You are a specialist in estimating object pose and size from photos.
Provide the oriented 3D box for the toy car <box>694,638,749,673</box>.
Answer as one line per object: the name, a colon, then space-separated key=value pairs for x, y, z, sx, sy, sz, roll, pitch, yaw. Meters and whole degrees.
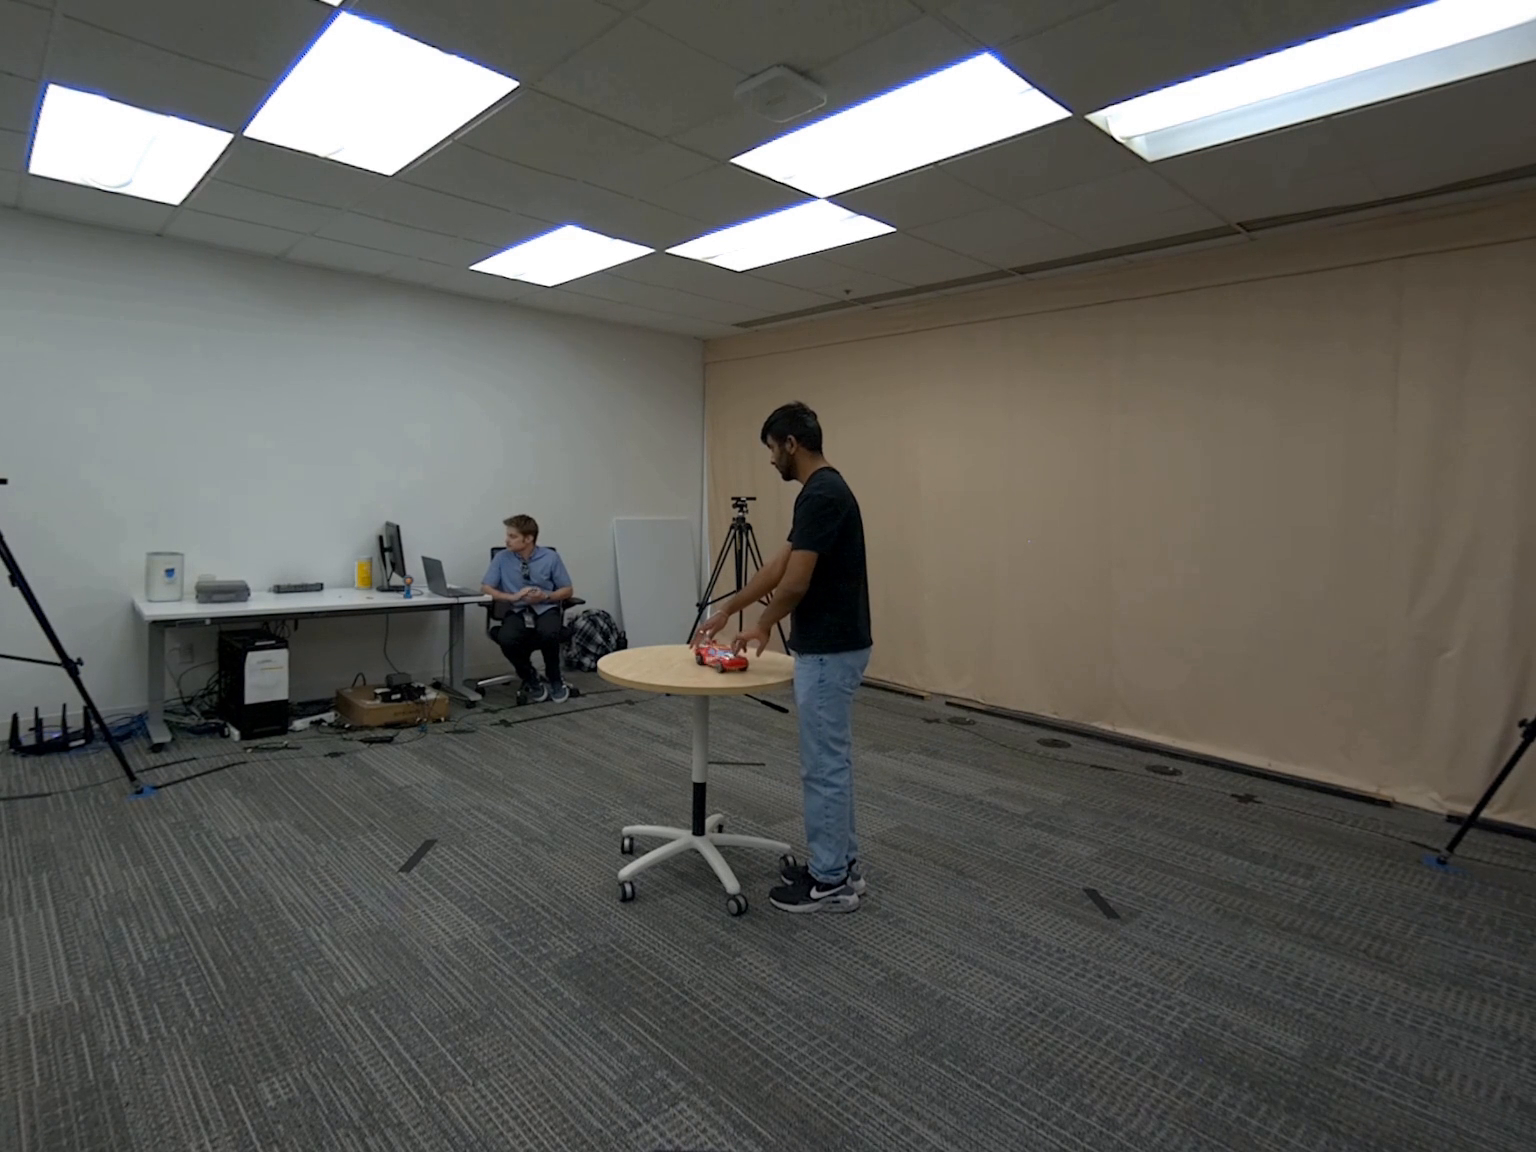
toy car: x=-0.181 y=0.295 z=3.054 sx=0.127 sy=0.082 sz=0.262 roll=-1 pitch=16 yaw=-32
